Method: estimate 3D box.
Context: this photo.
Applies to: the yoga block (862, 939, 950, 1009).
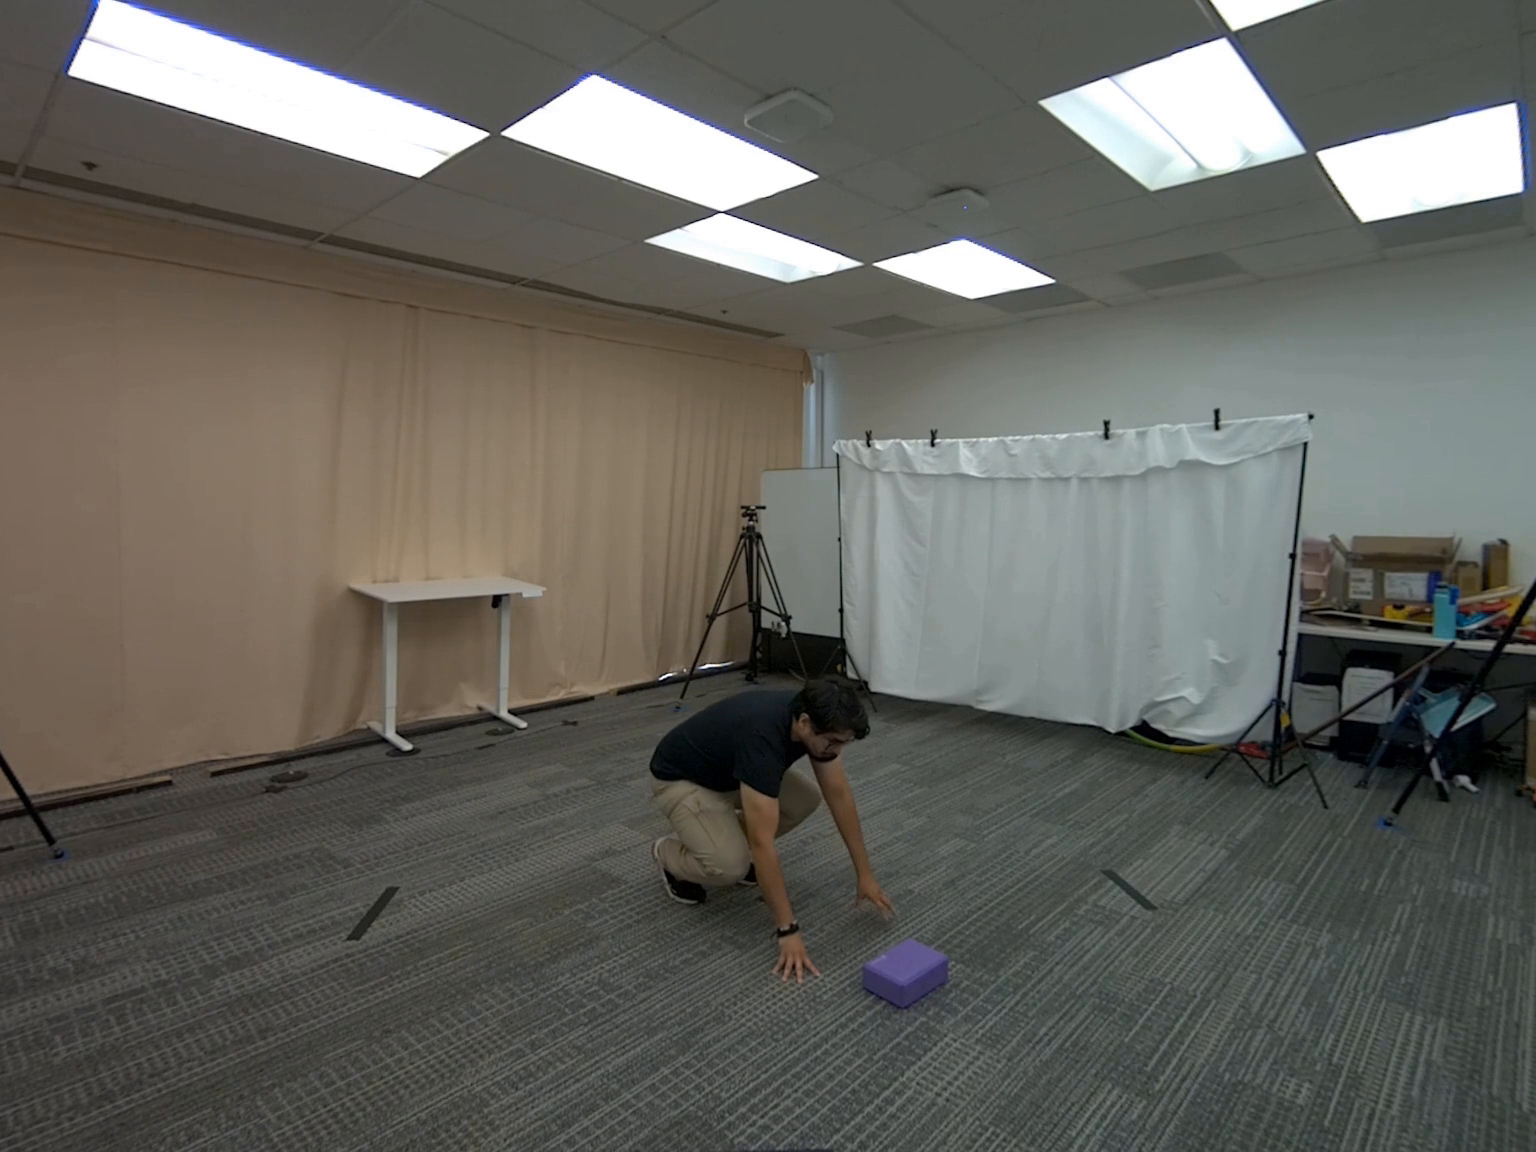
[{"bbox_3d":[0.405,1.150,2.442,0.222,0.076,0.154,-5,8,-43],"label":"yoga block"}]
